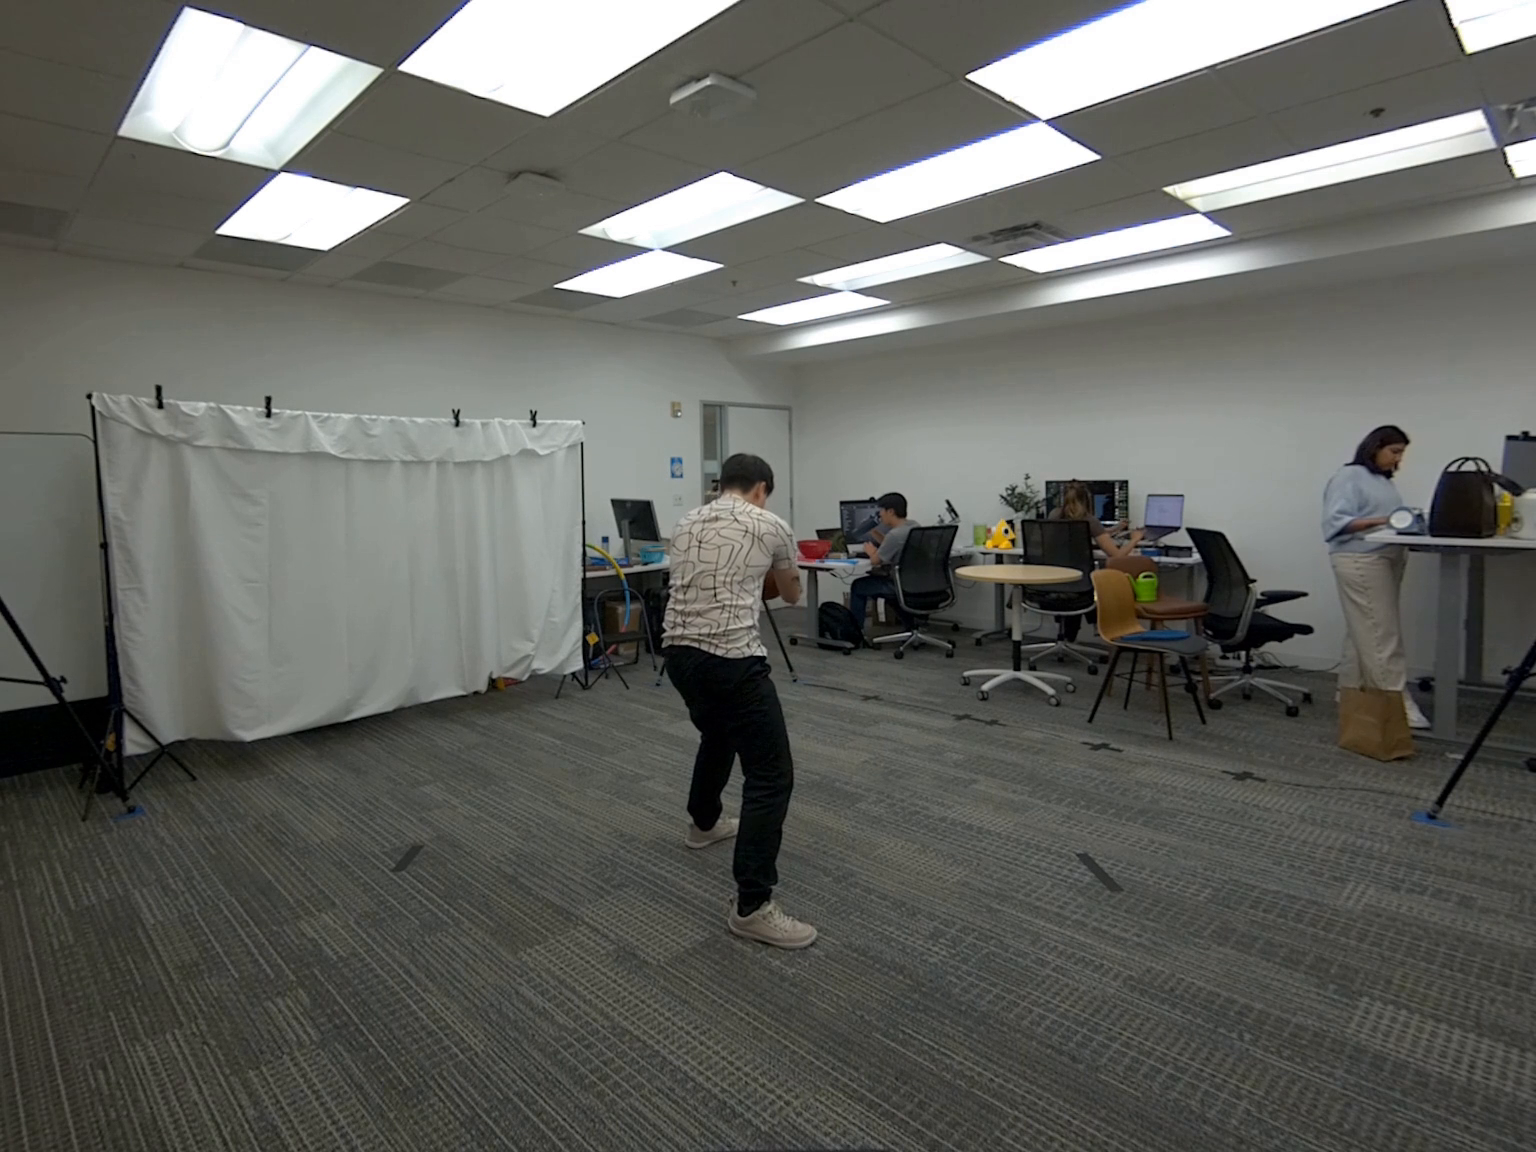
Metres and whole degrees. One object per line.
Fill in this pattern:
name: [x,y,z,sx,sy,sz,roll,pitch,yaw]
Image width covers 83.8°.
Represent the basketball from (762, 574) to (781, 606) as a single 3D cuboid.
basketball: [-0.011,-0.015,3.507,0.236,0.235,0.237,-1,5,-2]
